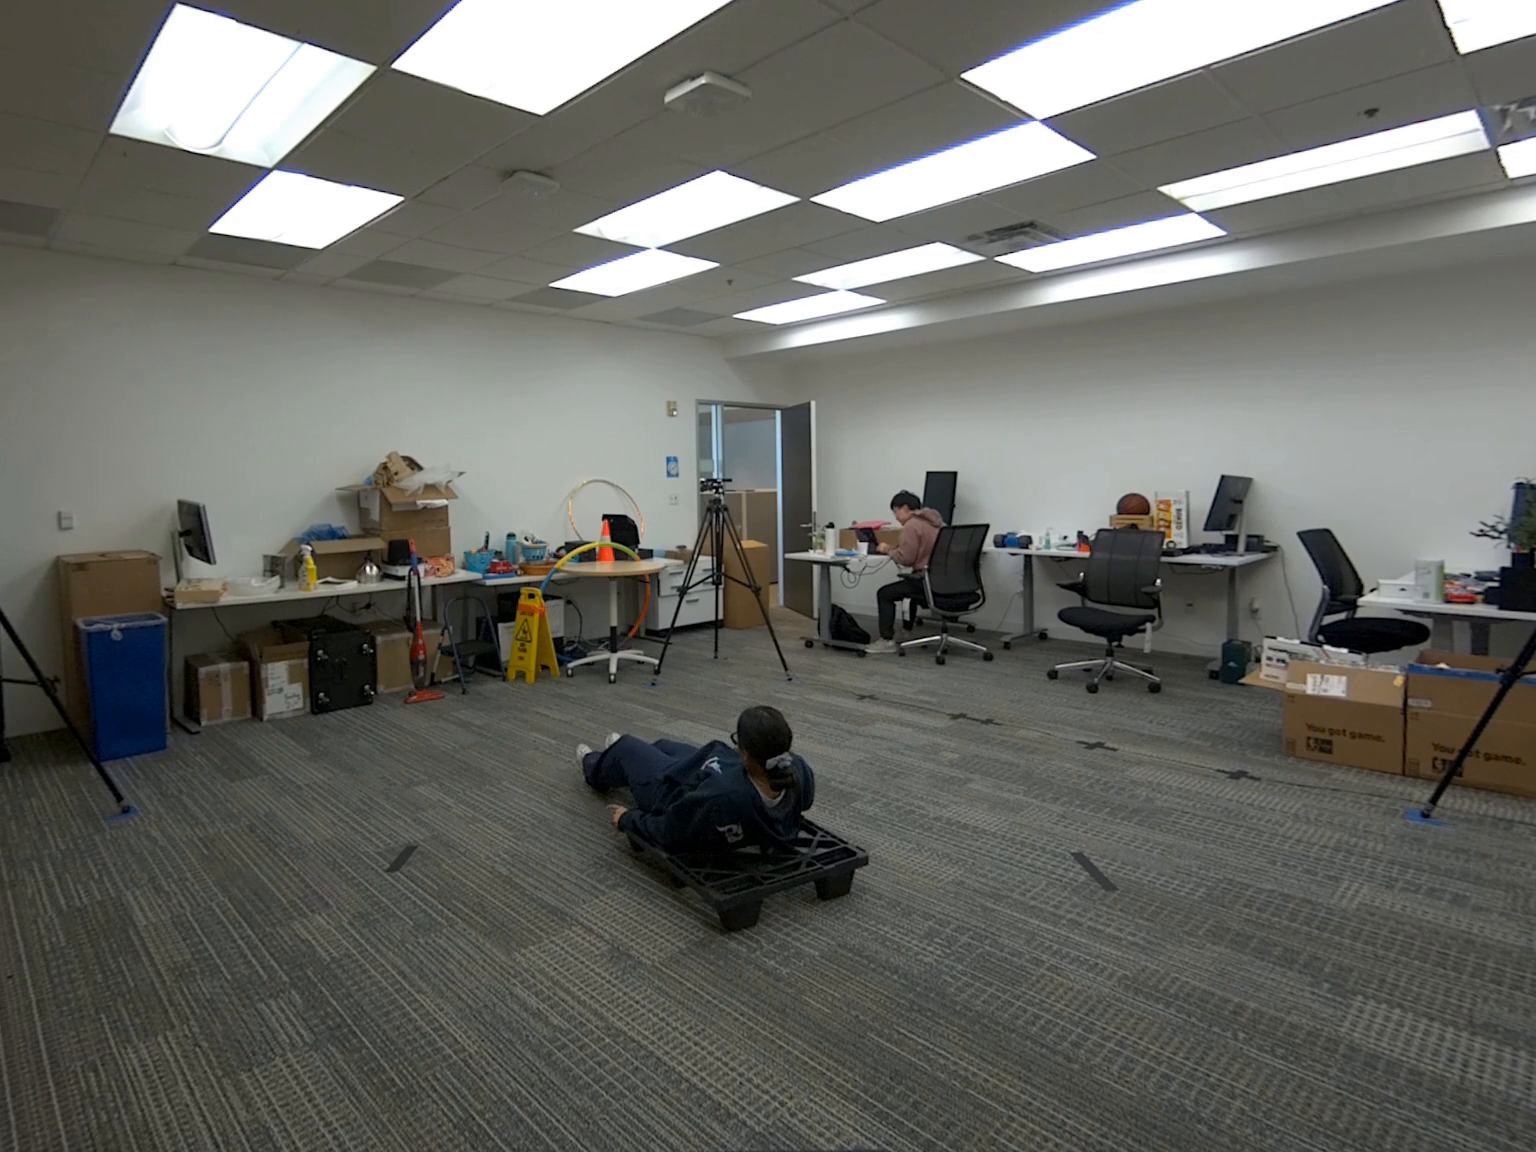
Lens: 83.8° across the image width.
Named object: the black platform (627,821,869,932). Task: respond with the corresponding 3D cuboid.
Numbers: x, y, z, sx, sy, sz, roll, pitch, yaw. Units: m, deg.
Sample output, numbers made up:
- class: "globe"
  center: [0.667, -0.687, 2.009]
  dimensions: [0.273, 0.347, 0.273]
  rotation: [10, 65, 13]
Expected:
- class: "black platform"
  center: [-0.124, 0.989, 3.048]
  dimensions: [0.591, 0.143, 0.828]
  rotation: [-5, 7, -30]
